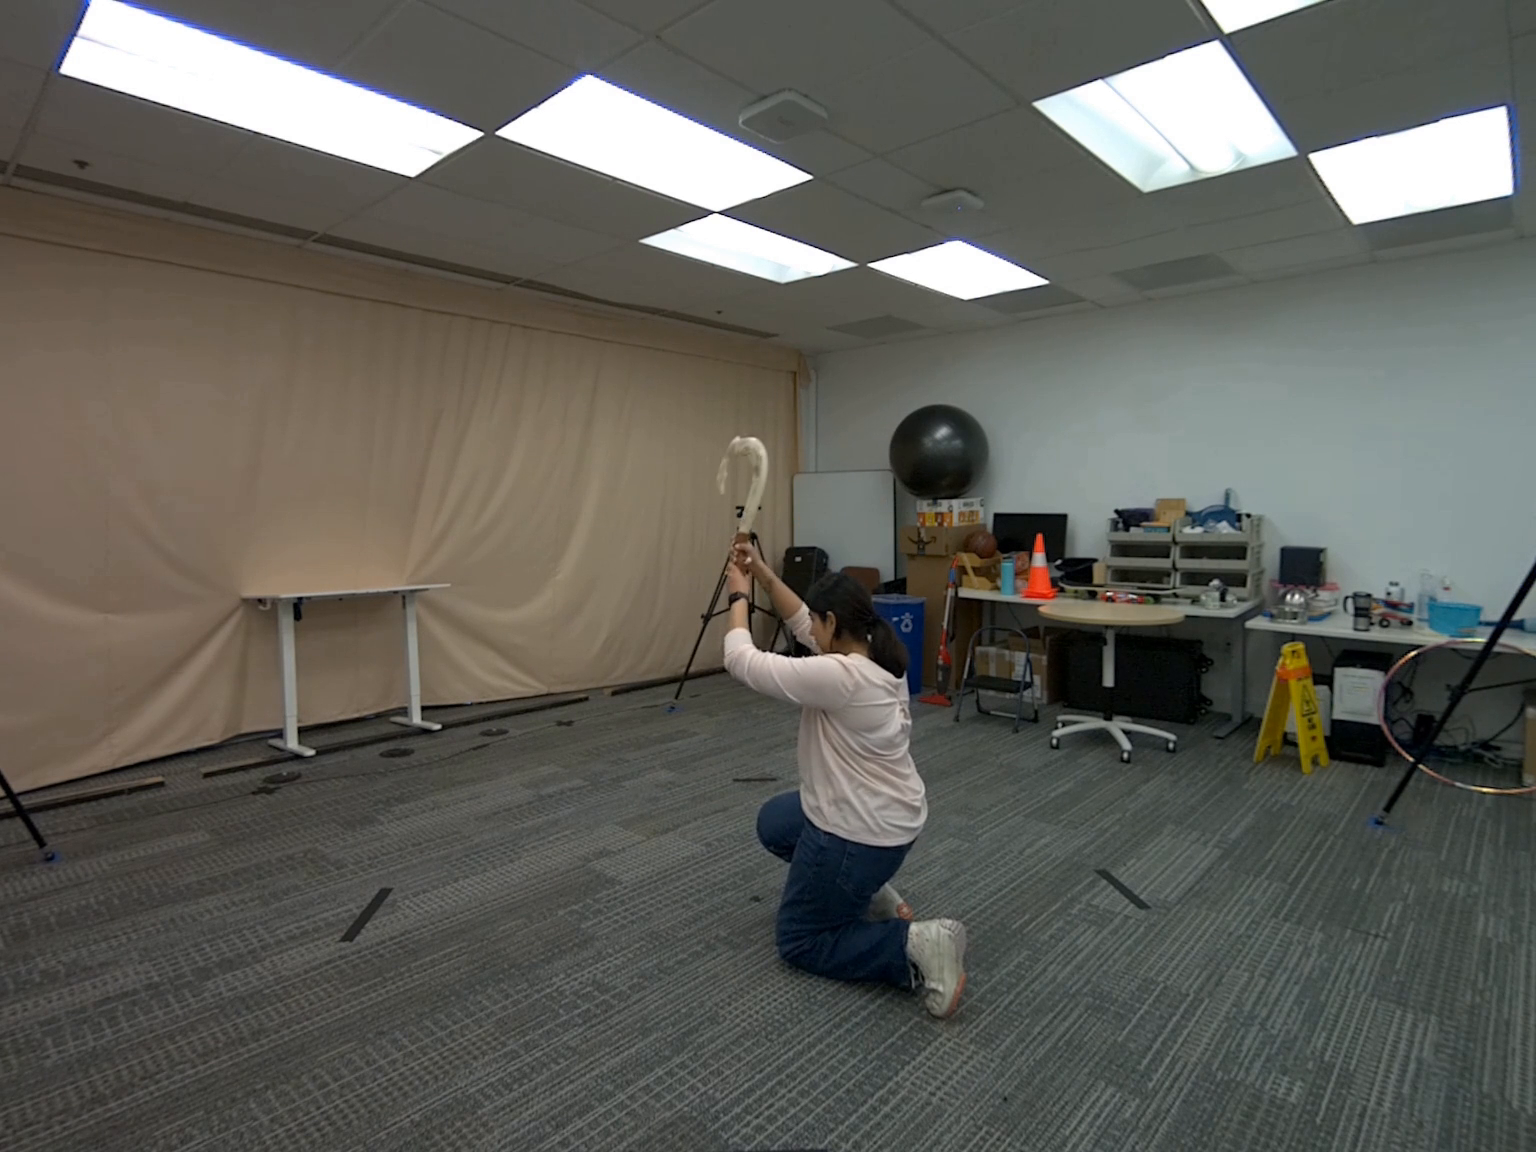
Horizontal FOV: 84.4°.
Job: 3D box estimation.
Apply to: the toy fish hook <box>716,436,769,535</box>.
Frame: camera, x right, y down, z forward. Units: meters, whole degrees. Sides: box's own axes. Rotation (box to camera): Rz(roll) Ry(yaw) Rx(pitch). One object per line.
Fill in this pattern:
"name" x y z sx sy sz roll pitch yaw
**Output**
"toy fish hook" -0.096 -0.188 2.757 0.047 0.506 0.232 5 3 -41
